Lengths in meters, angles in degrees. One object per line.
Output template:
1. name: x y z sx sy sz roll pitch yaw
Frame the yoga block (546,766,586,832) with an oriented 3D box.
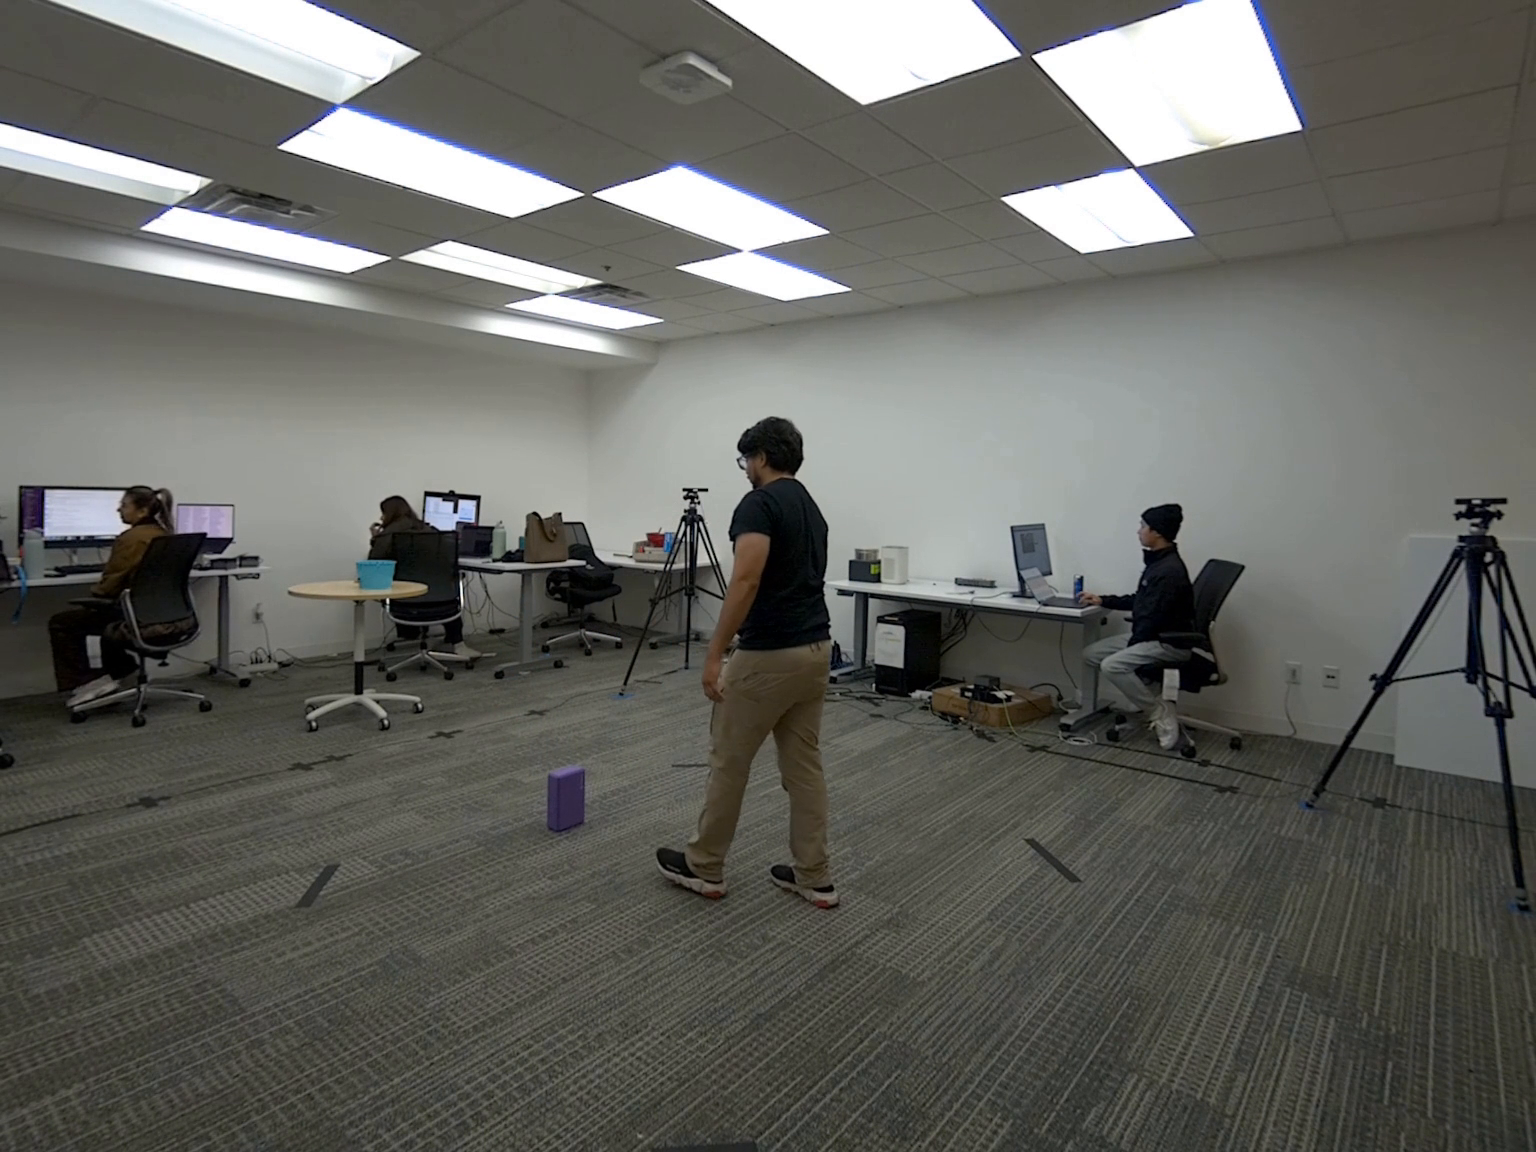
1. yoga block: -0.842 0.908 3.489 0.079 0.229 0.144 3 4 37
